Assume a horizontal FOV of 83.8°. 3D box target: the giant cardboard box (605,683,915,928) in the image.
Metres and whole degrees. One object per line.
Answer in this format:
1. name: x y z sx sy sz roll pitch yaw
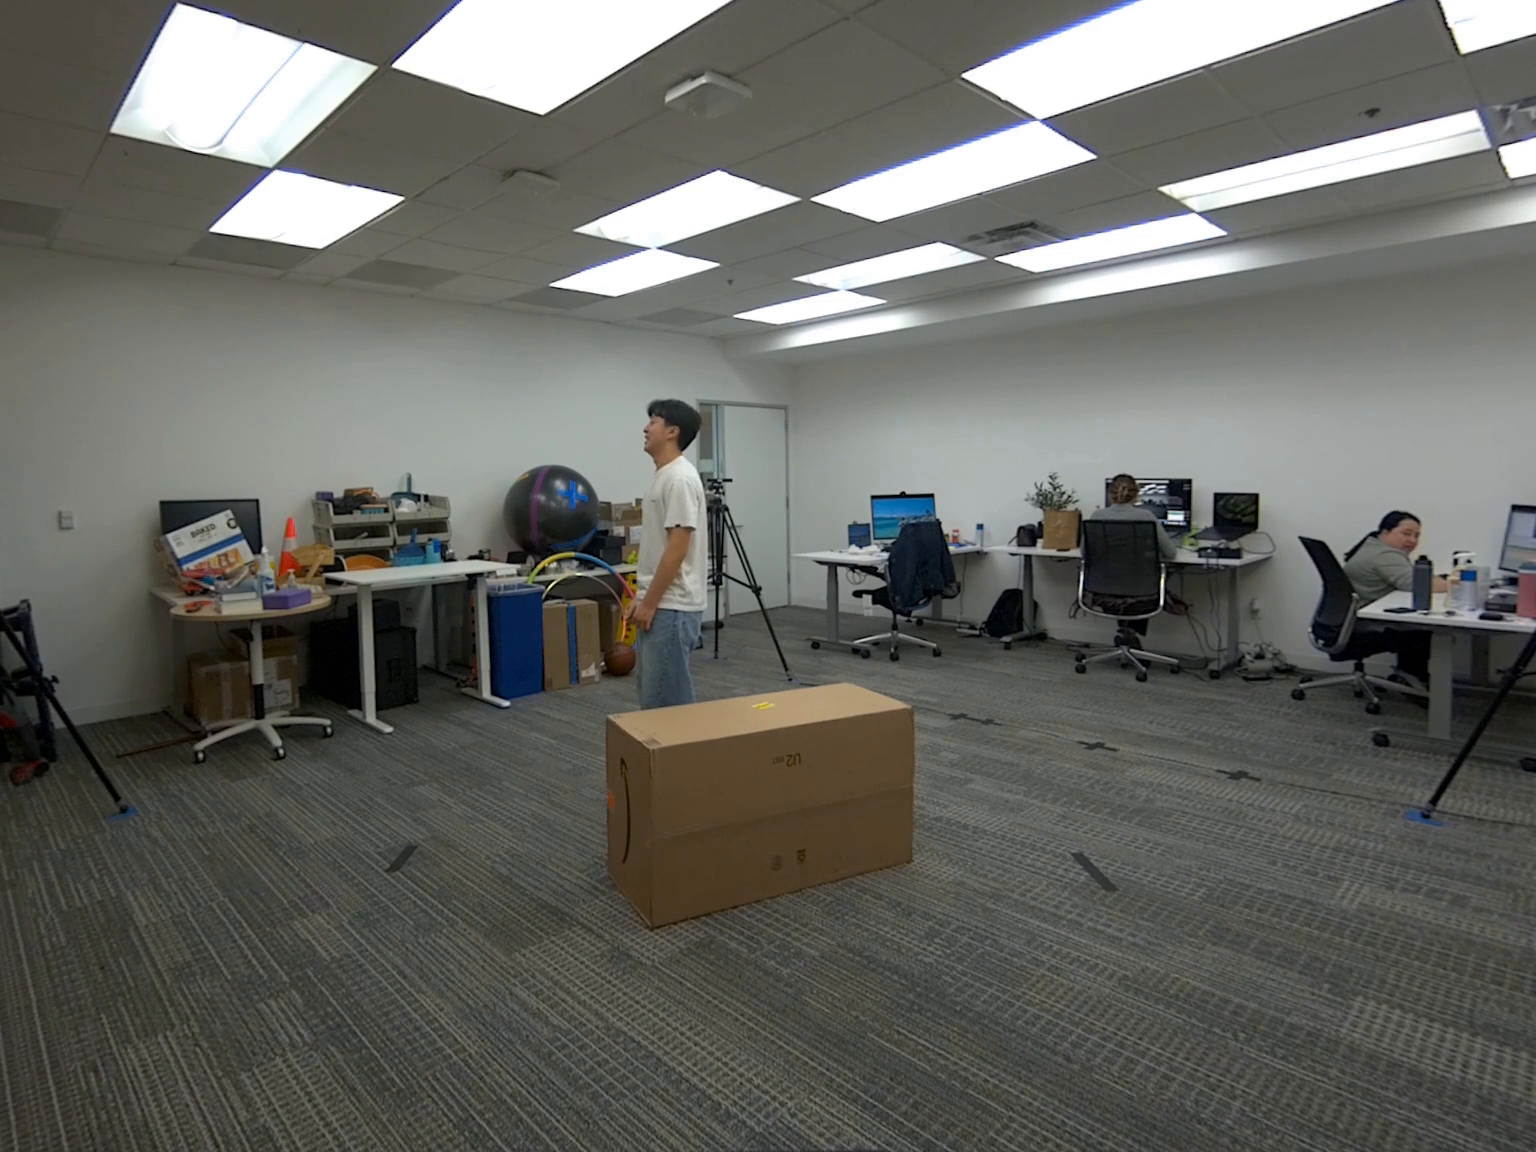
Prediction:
1. giant cardboard box: -0.022 0.763 3.052 1.003 0.575 0.437 -4 5 -27
